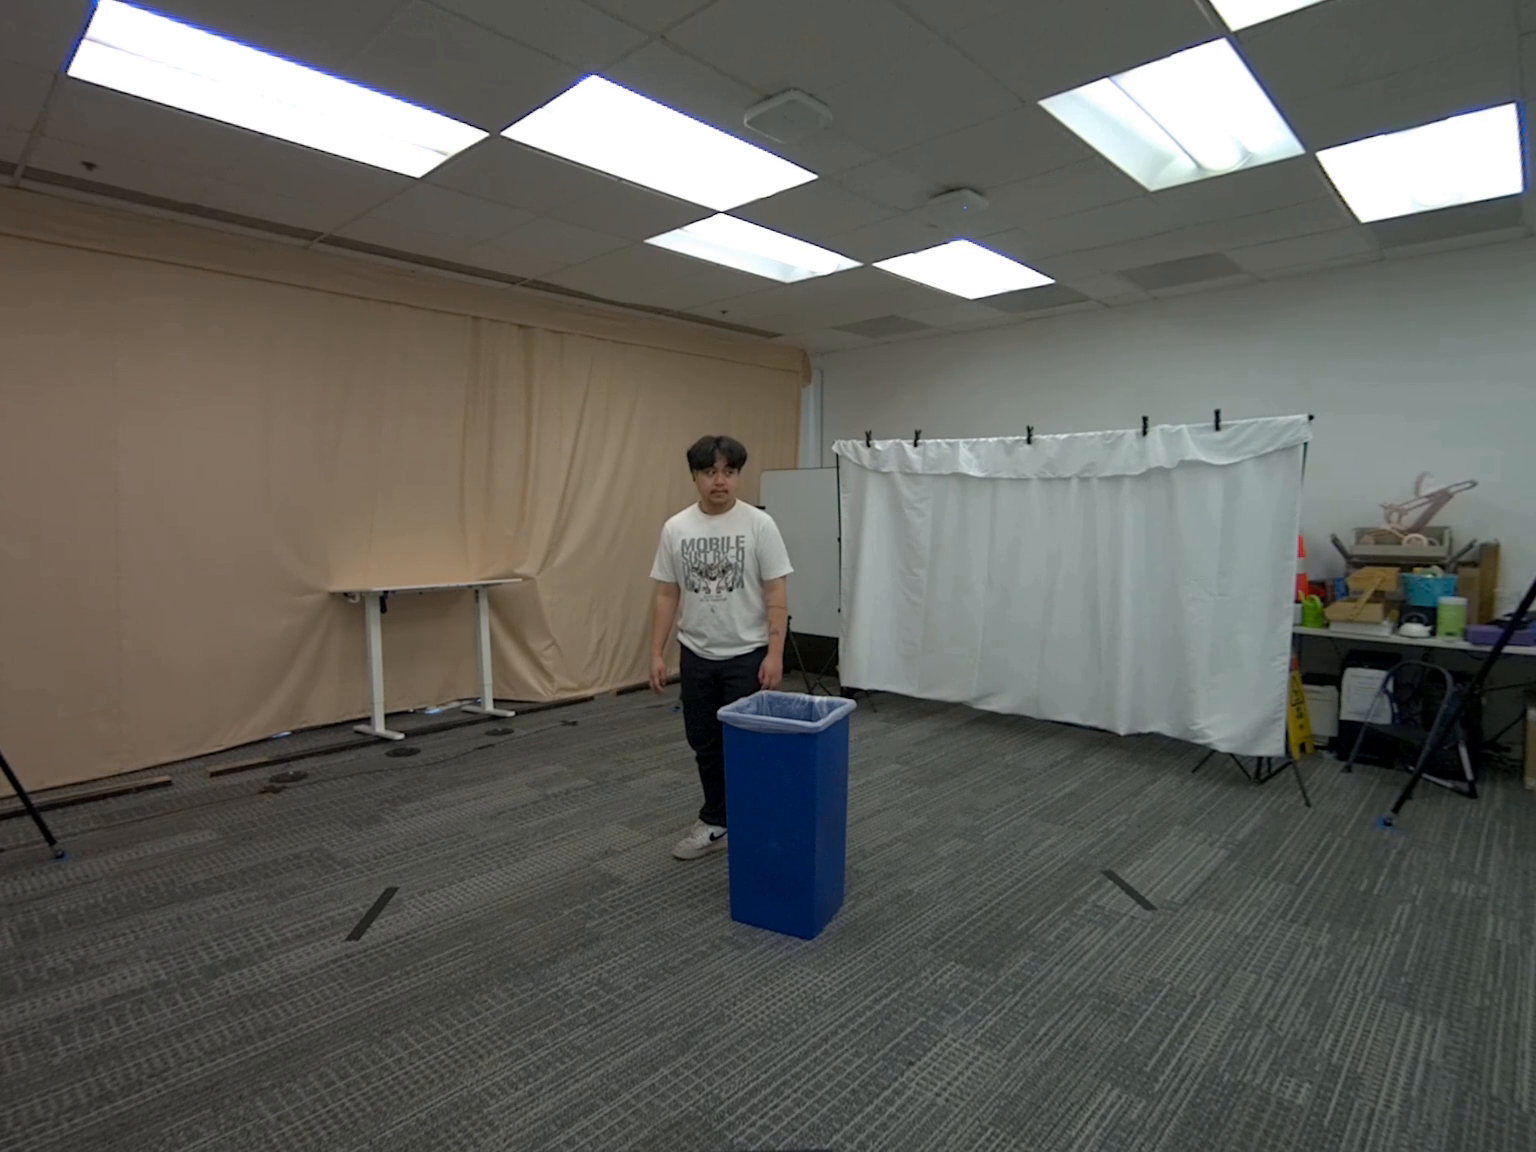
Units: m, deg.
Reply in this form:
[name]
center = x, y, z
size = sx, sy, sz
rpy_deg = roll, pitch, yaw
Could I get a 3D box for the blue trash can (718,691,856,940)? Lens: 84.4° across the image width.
[blue trash can]
center = 0.074, 0.795, 2.863
size = 0.388, 0.712, 0.365
rpy_deg = 1, 3, 27
